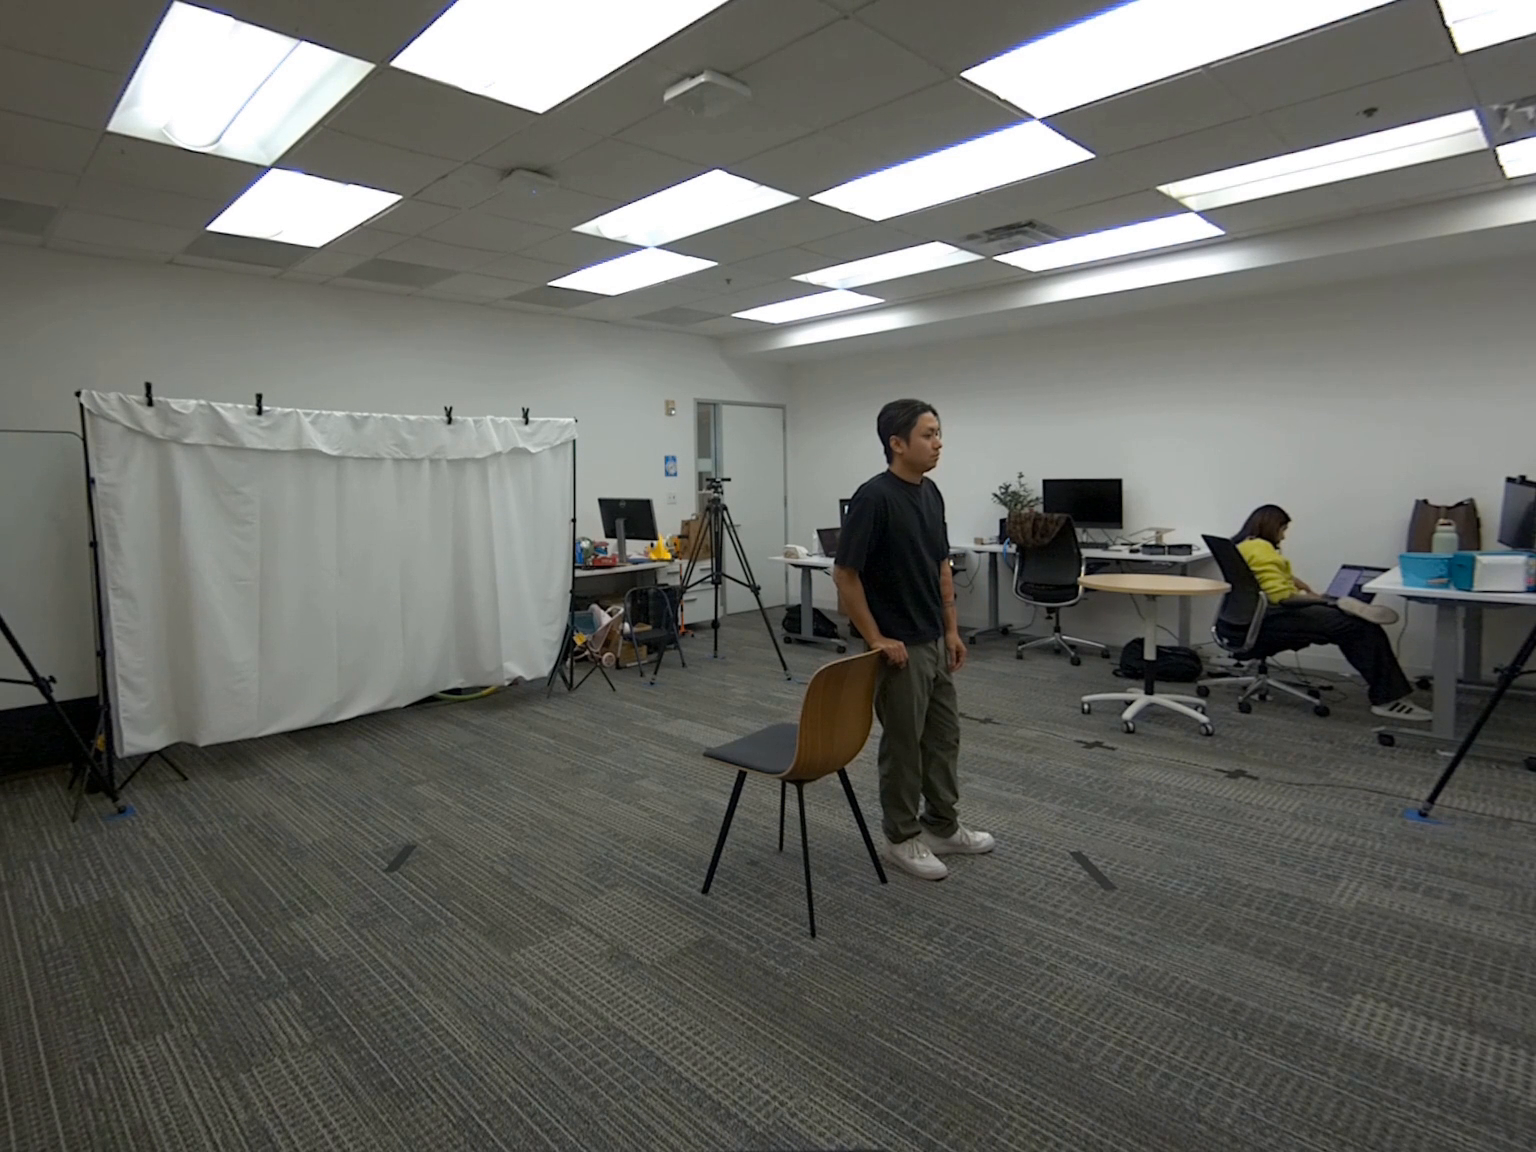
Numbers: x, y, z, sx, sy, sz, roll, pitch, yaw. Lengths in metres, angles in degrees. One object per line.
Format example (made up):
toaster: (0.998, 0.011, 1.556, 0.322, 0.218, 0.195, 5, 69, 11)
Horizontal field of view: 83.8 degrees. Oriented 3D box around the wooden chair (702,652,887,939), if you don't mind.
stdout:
wooden chair: (0.079, 0.640, 2.873, 0.540, 0.872, 0.466, 8, 9, 38)
